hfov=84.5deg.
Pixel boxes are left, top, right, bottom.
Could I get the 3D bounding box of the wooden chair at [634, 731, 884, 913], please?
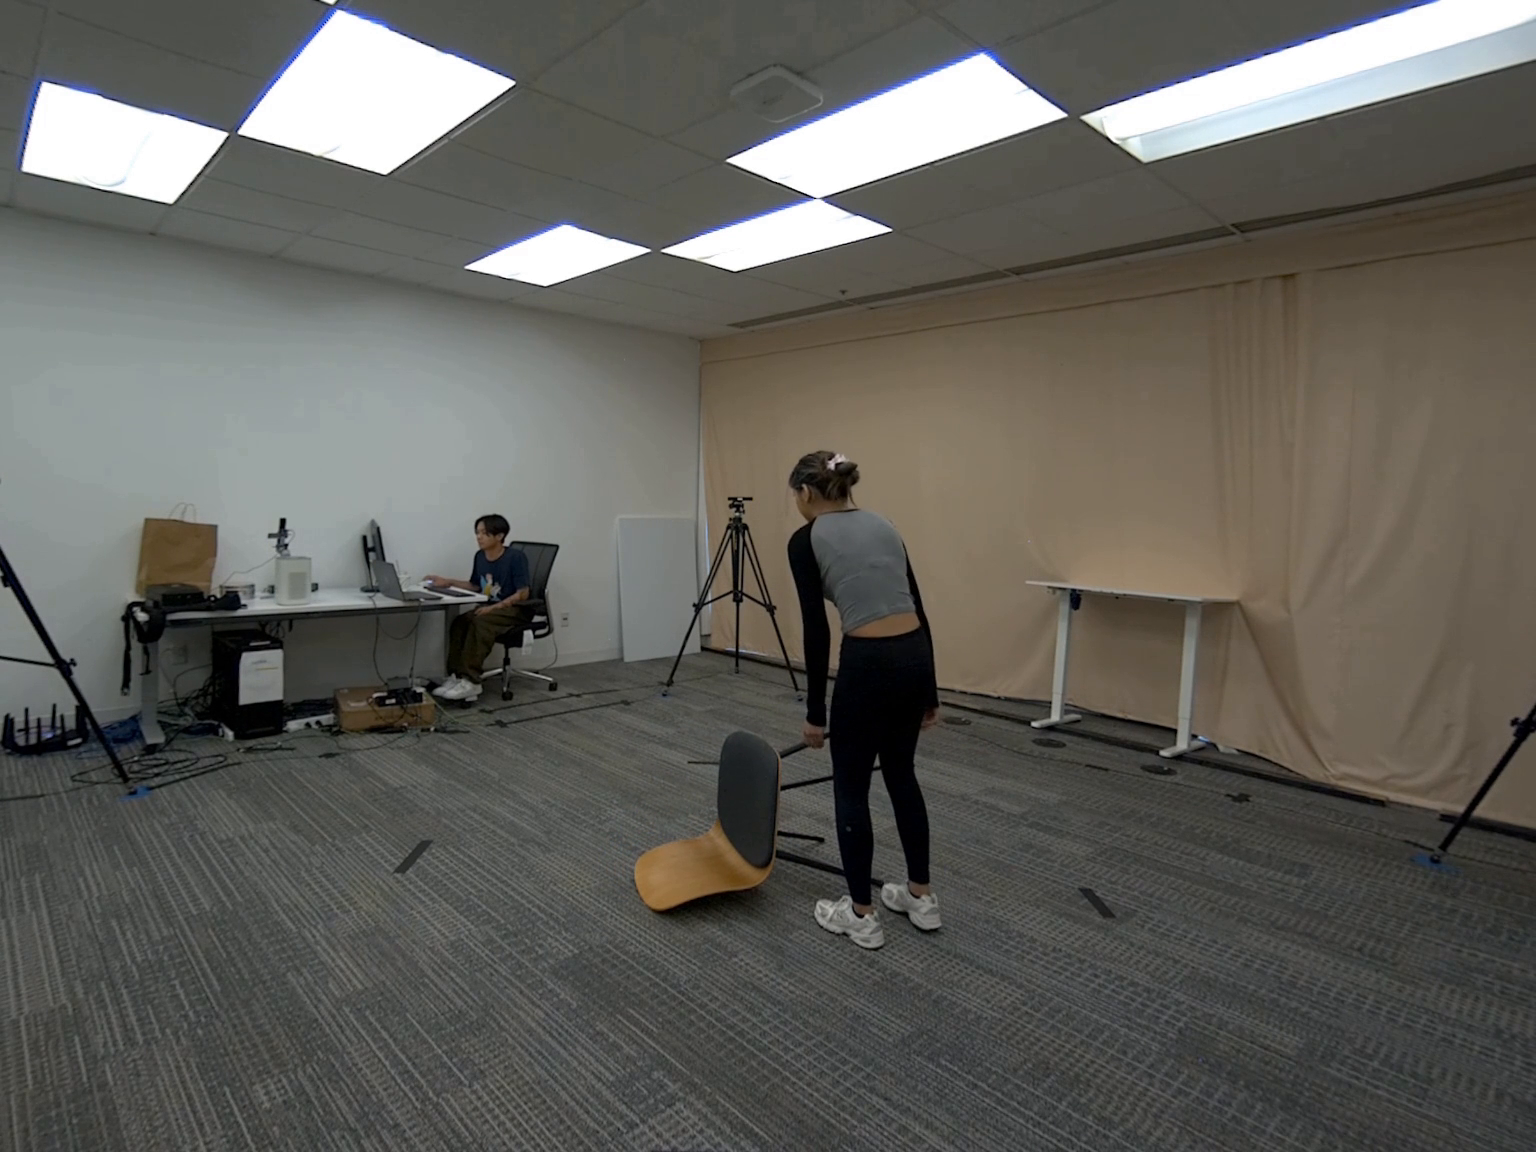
[{"bbox_3d":[-0.042,0.851,3.063,0.862,0.522,0.488,-2,4,-25],"label":"wooden chair"}]
